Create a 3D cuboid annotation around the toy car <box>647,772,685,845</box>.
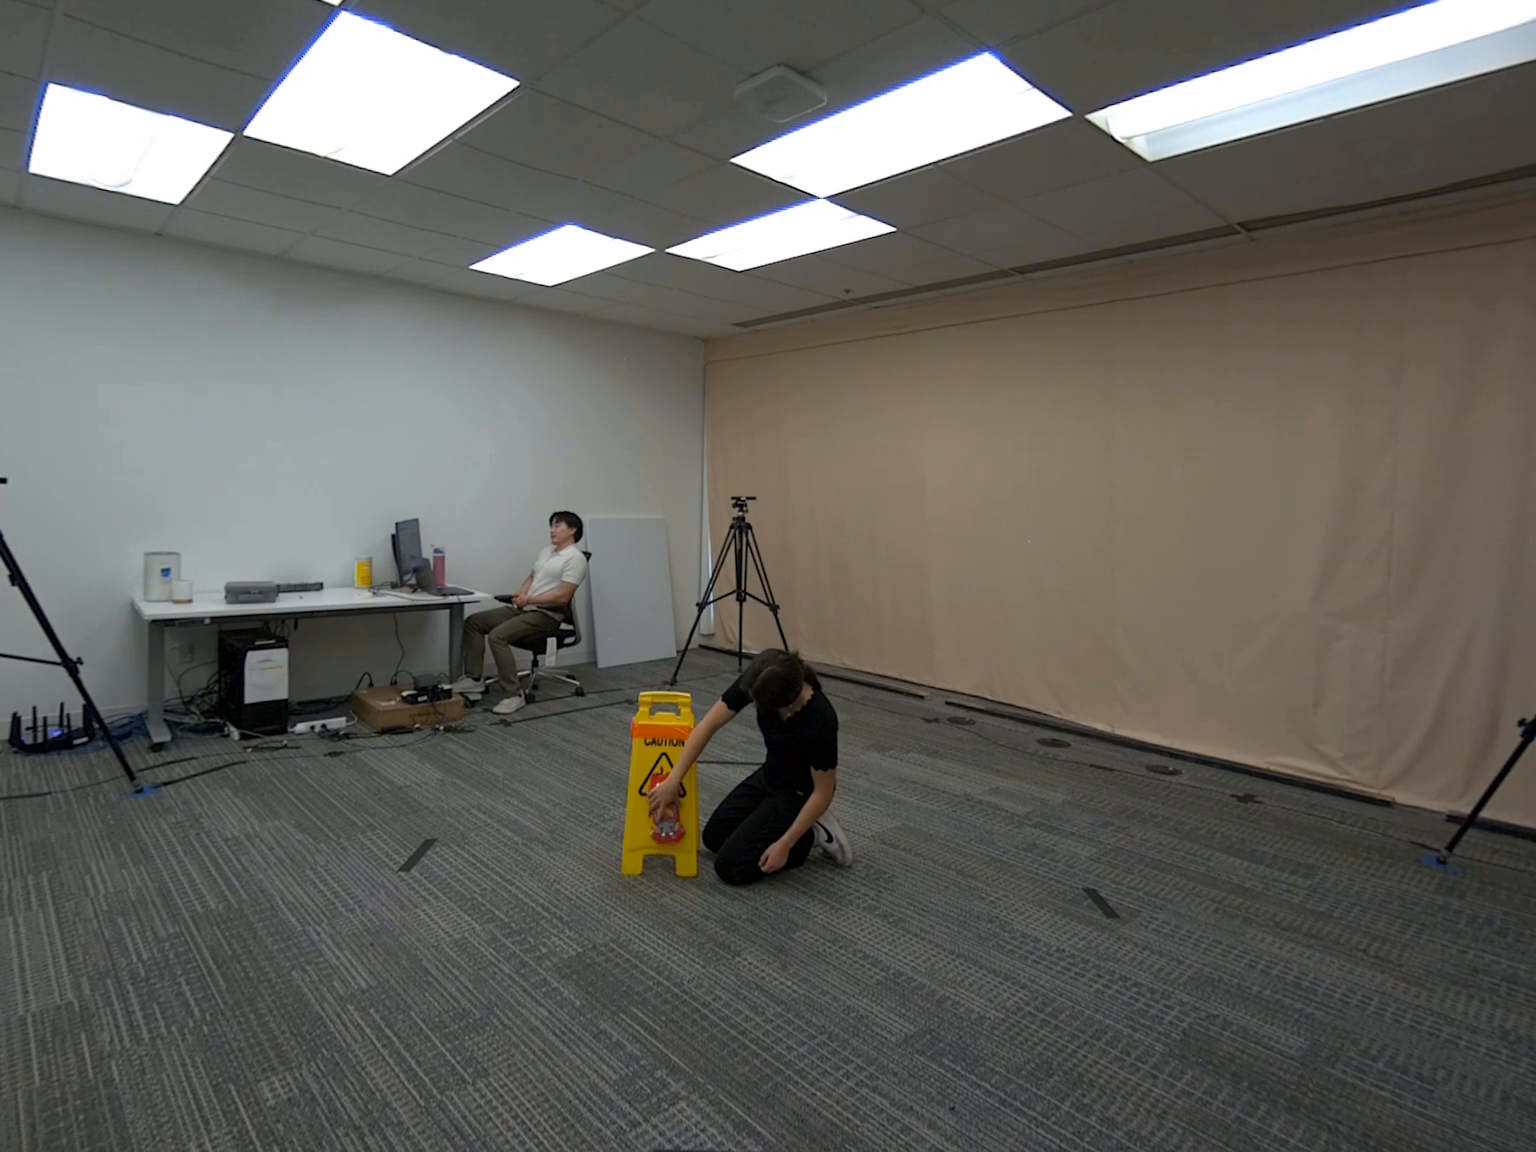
[{"bbox_3d":[-0.380,0.840,3.087,0.131,0.255,0.083,-5,0,6],"label":"toy car"}]
